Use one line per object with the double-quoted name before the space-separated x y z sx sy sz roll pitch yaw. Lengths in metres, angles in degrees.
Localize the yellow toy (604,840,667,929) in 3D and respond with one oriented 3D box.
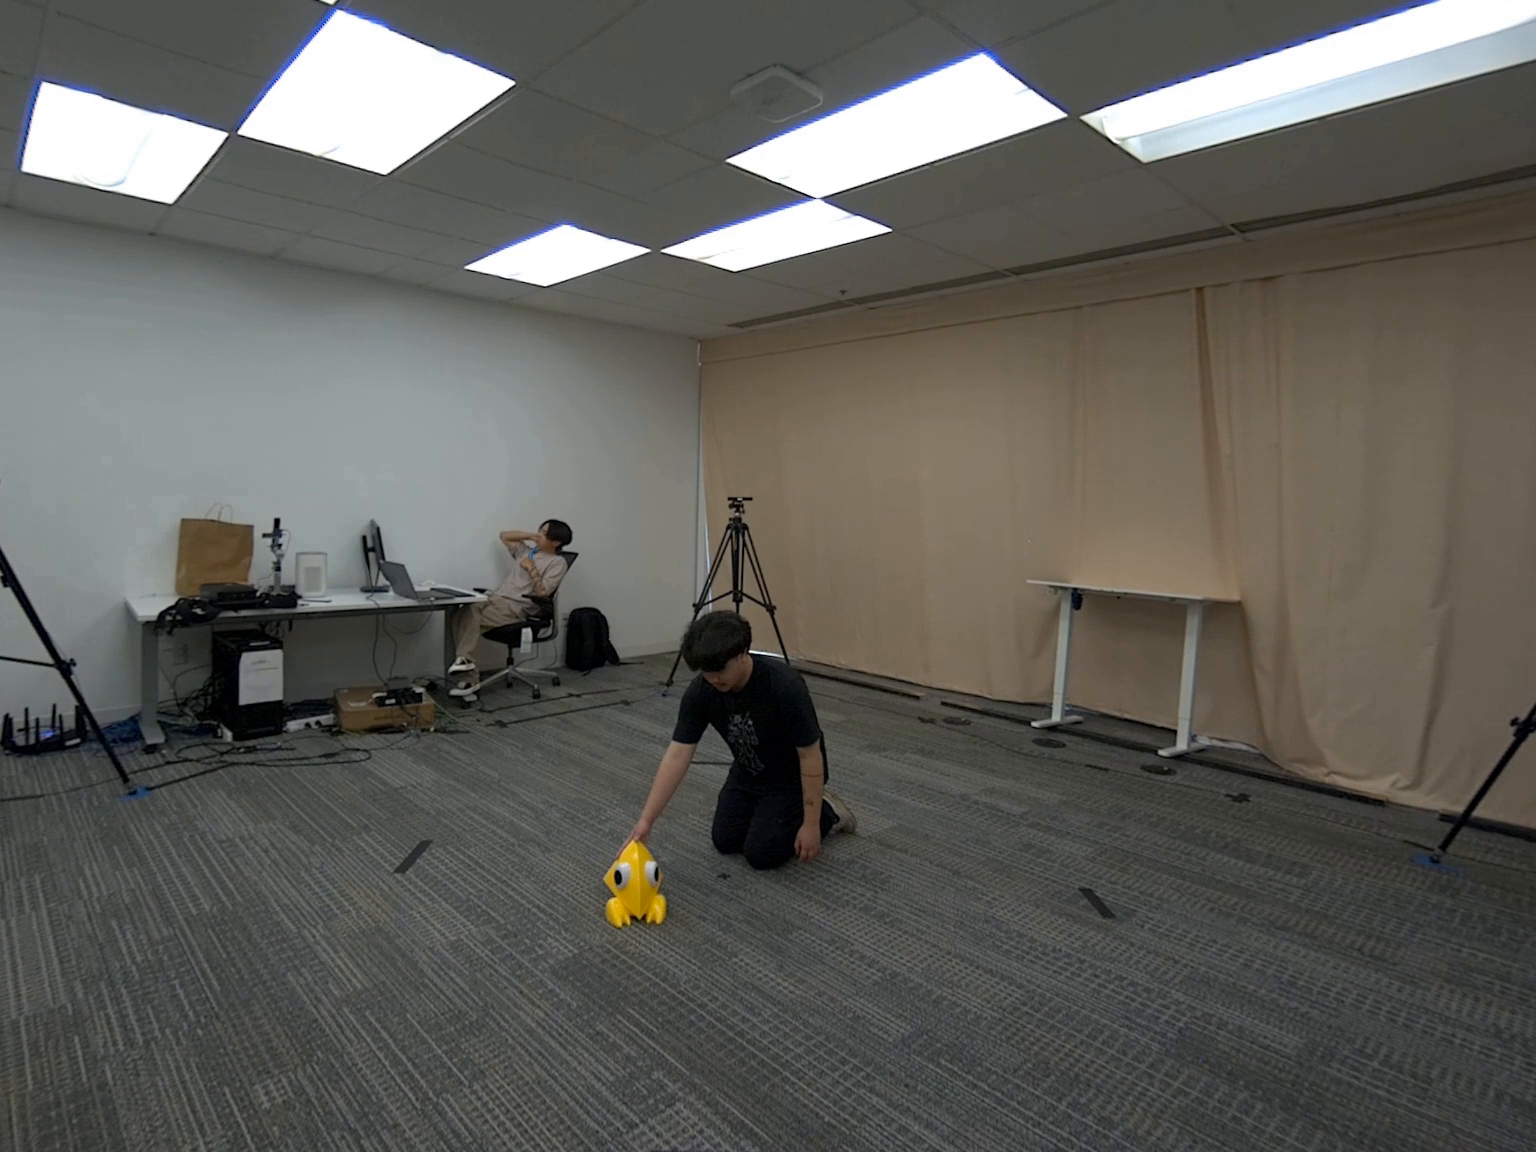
"yellow toy" -0.446 1.014 2.809 0.202 0.230 0.195 2 3 -14
